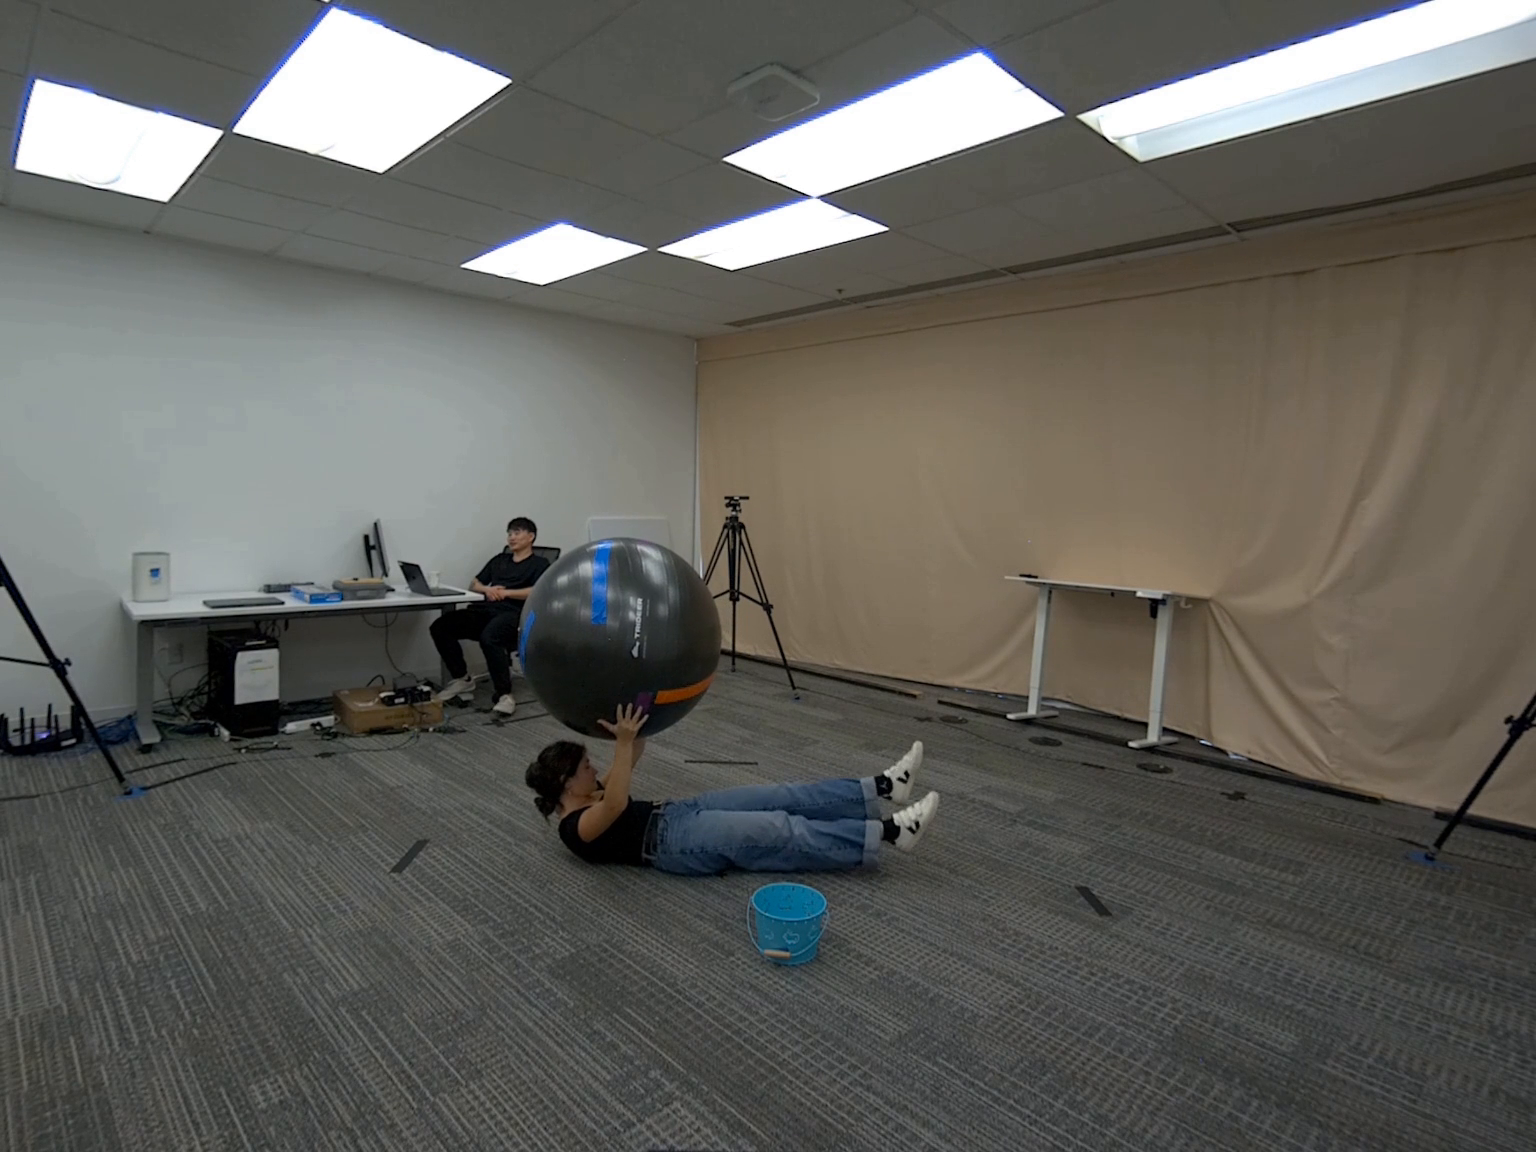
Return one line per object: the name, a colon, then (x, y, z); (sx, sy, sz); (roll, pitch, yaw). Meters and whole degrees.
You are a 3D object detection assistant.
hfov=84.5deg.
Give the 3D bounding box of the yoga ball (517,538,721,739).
yoga ball: (-0.556, 0.239, 3.173); (0.757, 0.756, 0.761); (1, 4, -1)
